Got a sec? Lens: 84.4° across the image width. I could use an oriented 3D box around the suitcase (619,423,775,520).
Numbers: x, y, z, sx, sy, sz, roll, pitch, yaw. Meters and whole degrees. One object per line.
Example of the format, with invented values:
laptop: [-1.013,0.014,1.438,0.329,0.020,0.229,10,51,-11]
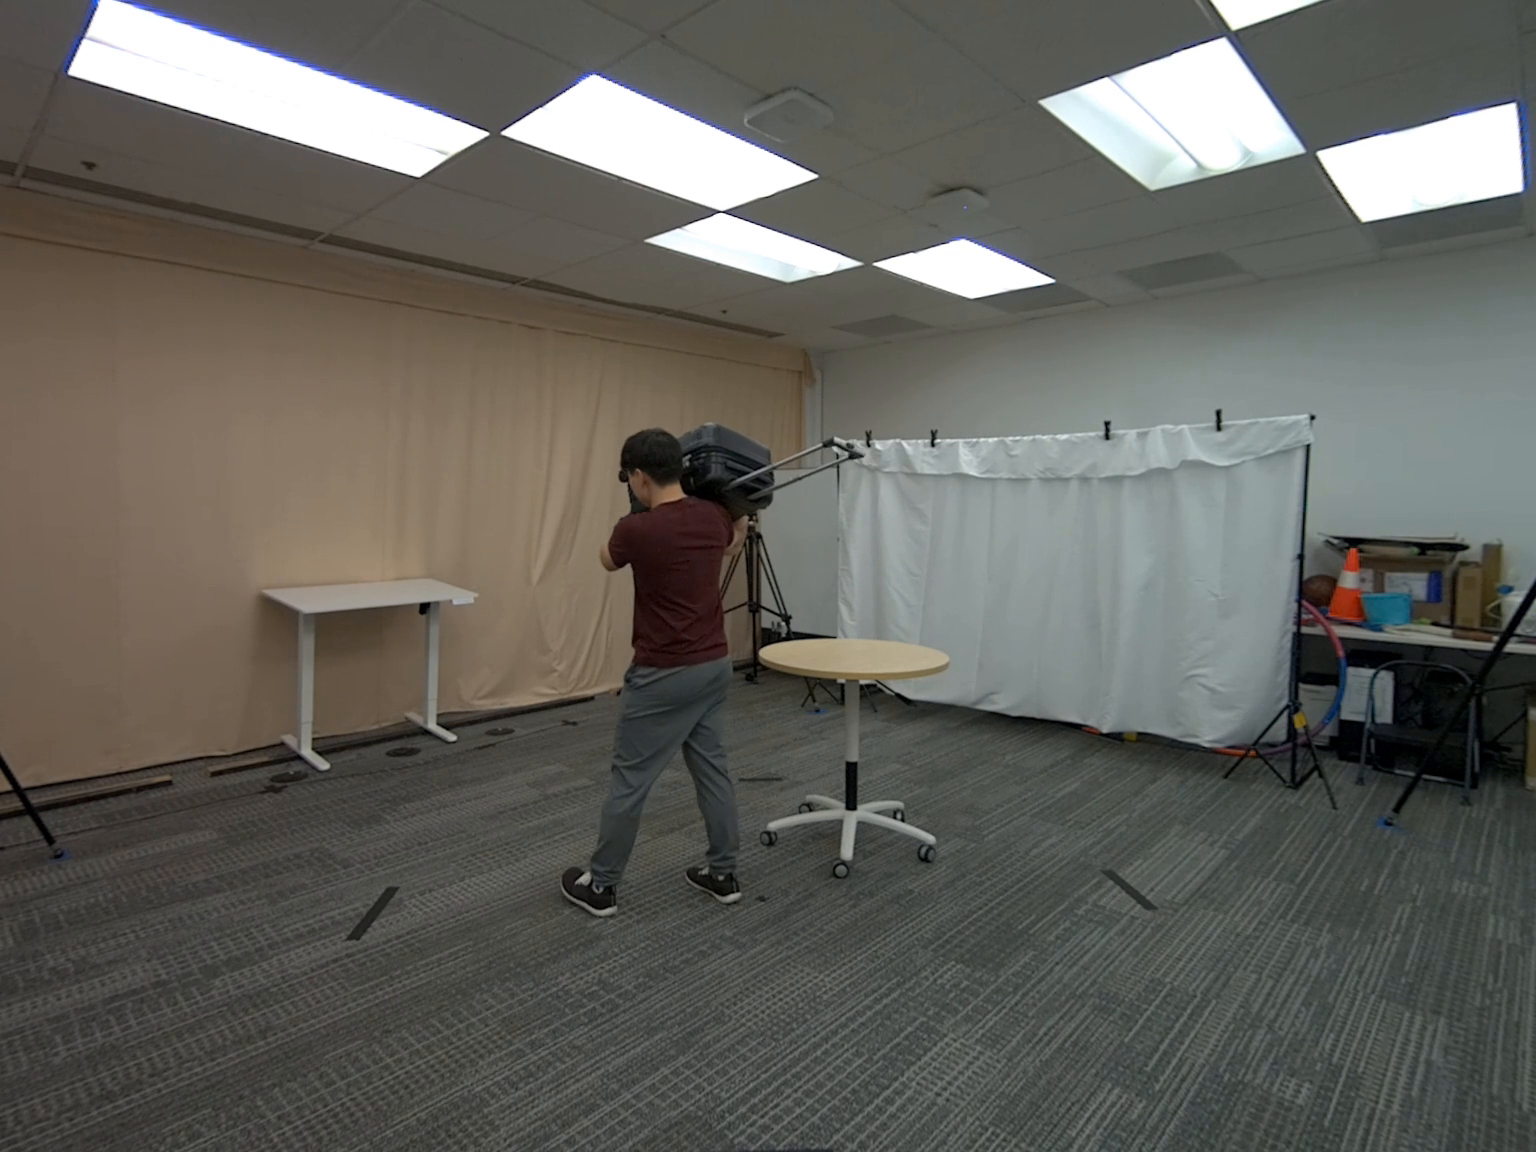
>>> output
suitcase: [-0.115,-0.397,3.013,0.370,0.260,1.001,18,-28,-42]
